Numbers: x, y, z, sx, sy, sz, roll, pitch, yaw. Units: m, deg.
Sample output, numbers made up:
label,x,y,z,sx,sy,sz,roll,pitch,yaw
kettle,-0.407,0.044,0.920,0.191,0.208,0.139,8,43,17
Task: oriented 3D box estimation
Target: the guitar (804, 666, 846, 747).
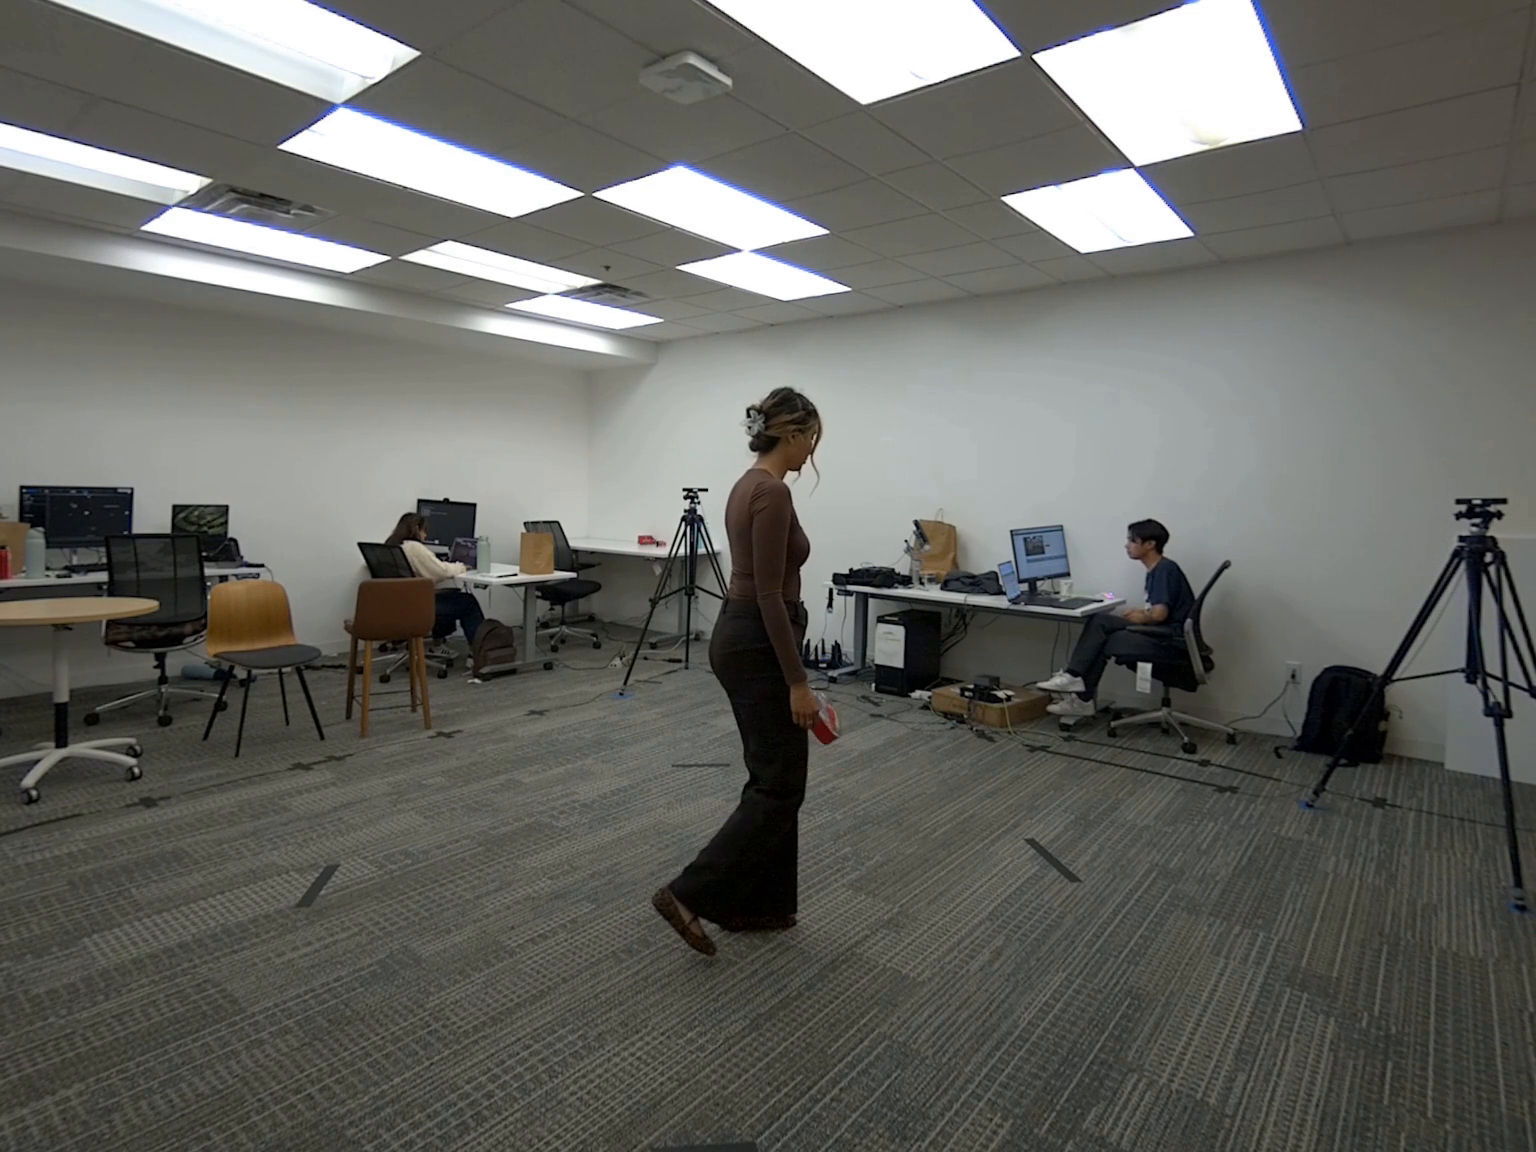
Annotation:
label,x,y,z,sx,sy,sz,roll,pitch,yaw
guitar,0.089,0.380,3.023,0.071,0.485,0.197,-37,21,19
